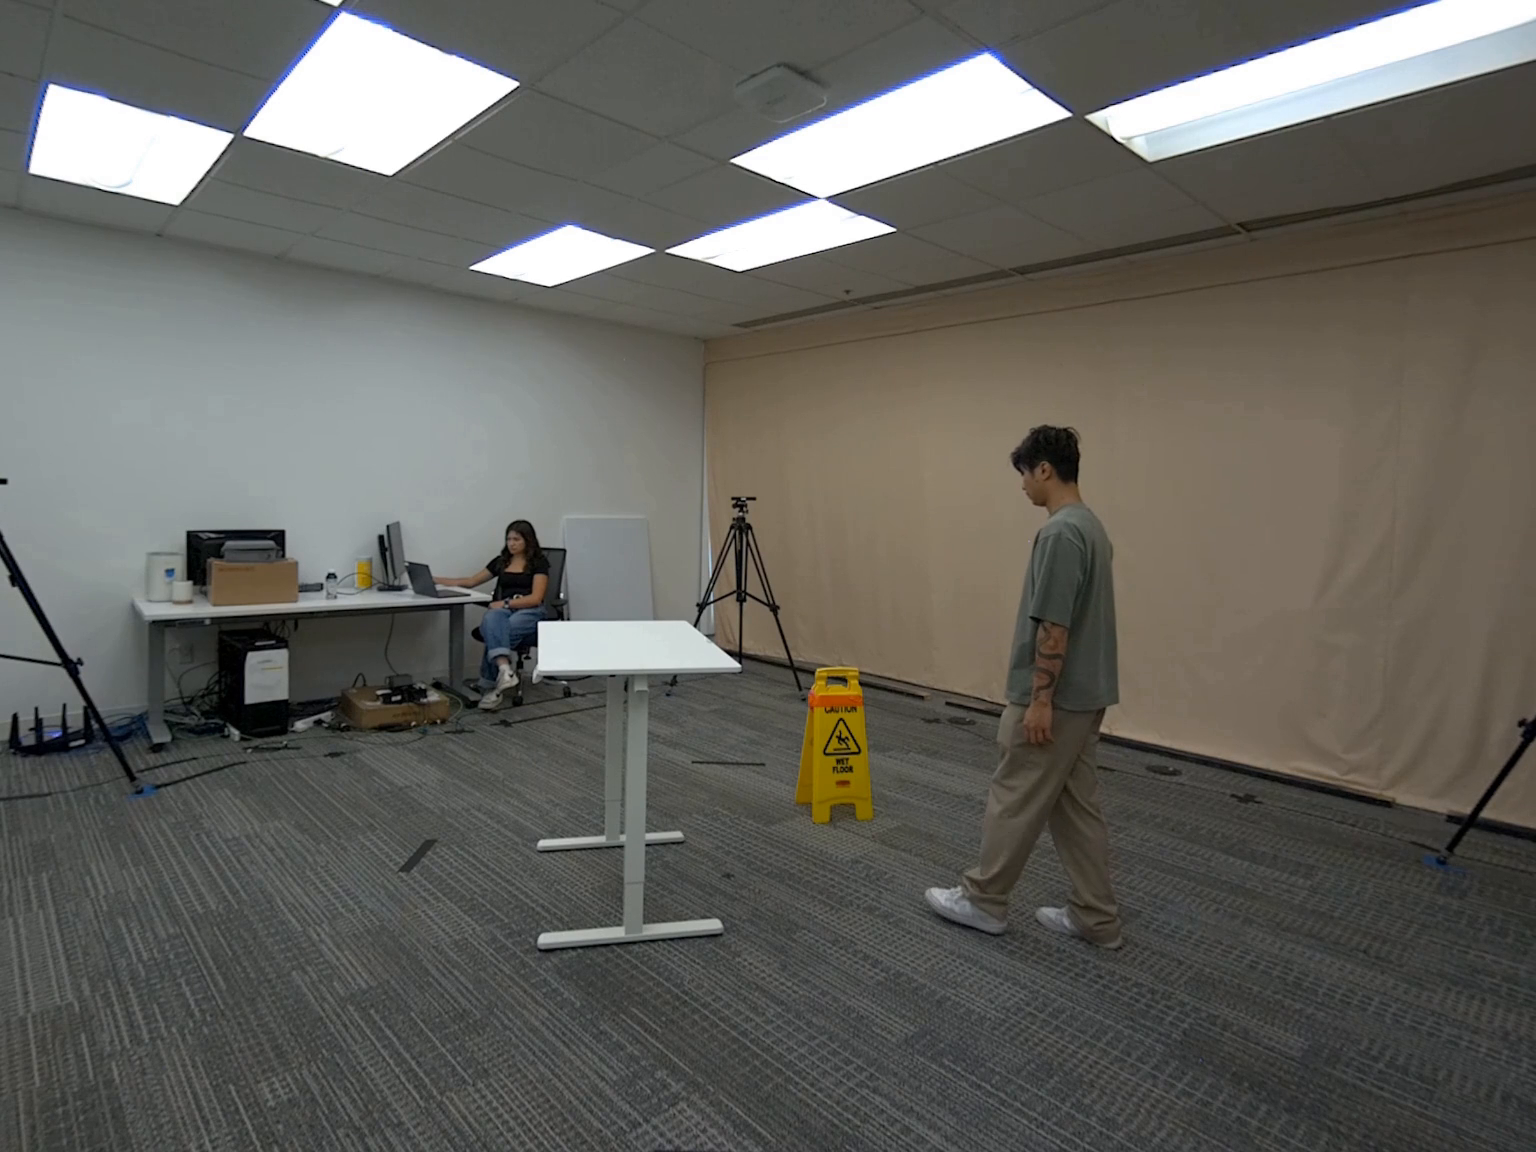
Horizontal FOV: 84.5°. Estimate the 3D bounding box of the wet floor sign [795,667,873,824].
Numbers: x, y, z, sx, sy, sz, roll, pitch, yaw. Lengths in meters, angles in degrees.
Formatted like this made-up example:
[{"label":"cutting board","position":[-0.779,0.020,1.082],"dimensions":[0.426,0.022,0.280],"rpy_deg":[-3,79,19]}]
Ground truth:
[{"label":"wet floor sign","position":[0.292,0.732,3.781],"dimensions":[0.279,0.645,0.293],"rpy_deg":[2,2,-14]}]
